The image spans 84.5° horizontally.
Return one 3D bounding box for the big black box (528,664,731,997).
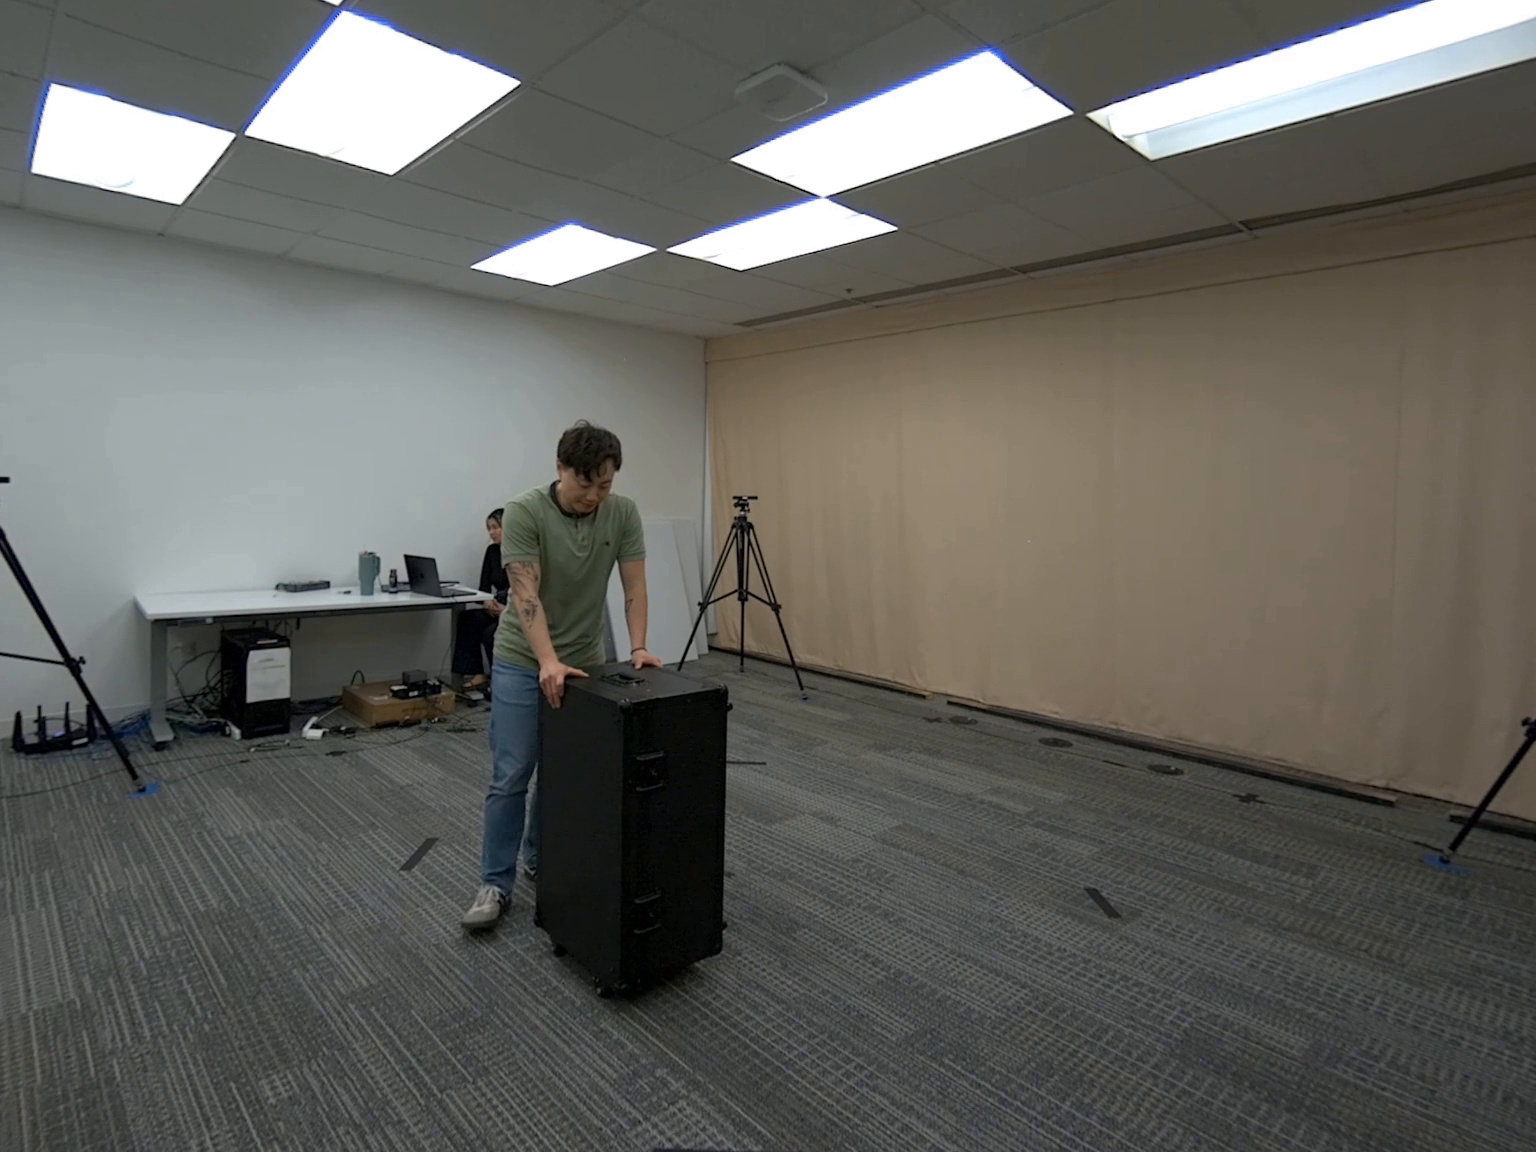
[{"bbox_3d":[-0.412,0.733,2.495,0.387,0.860,0.534,0,3,-41],"label":"big black box"}]
